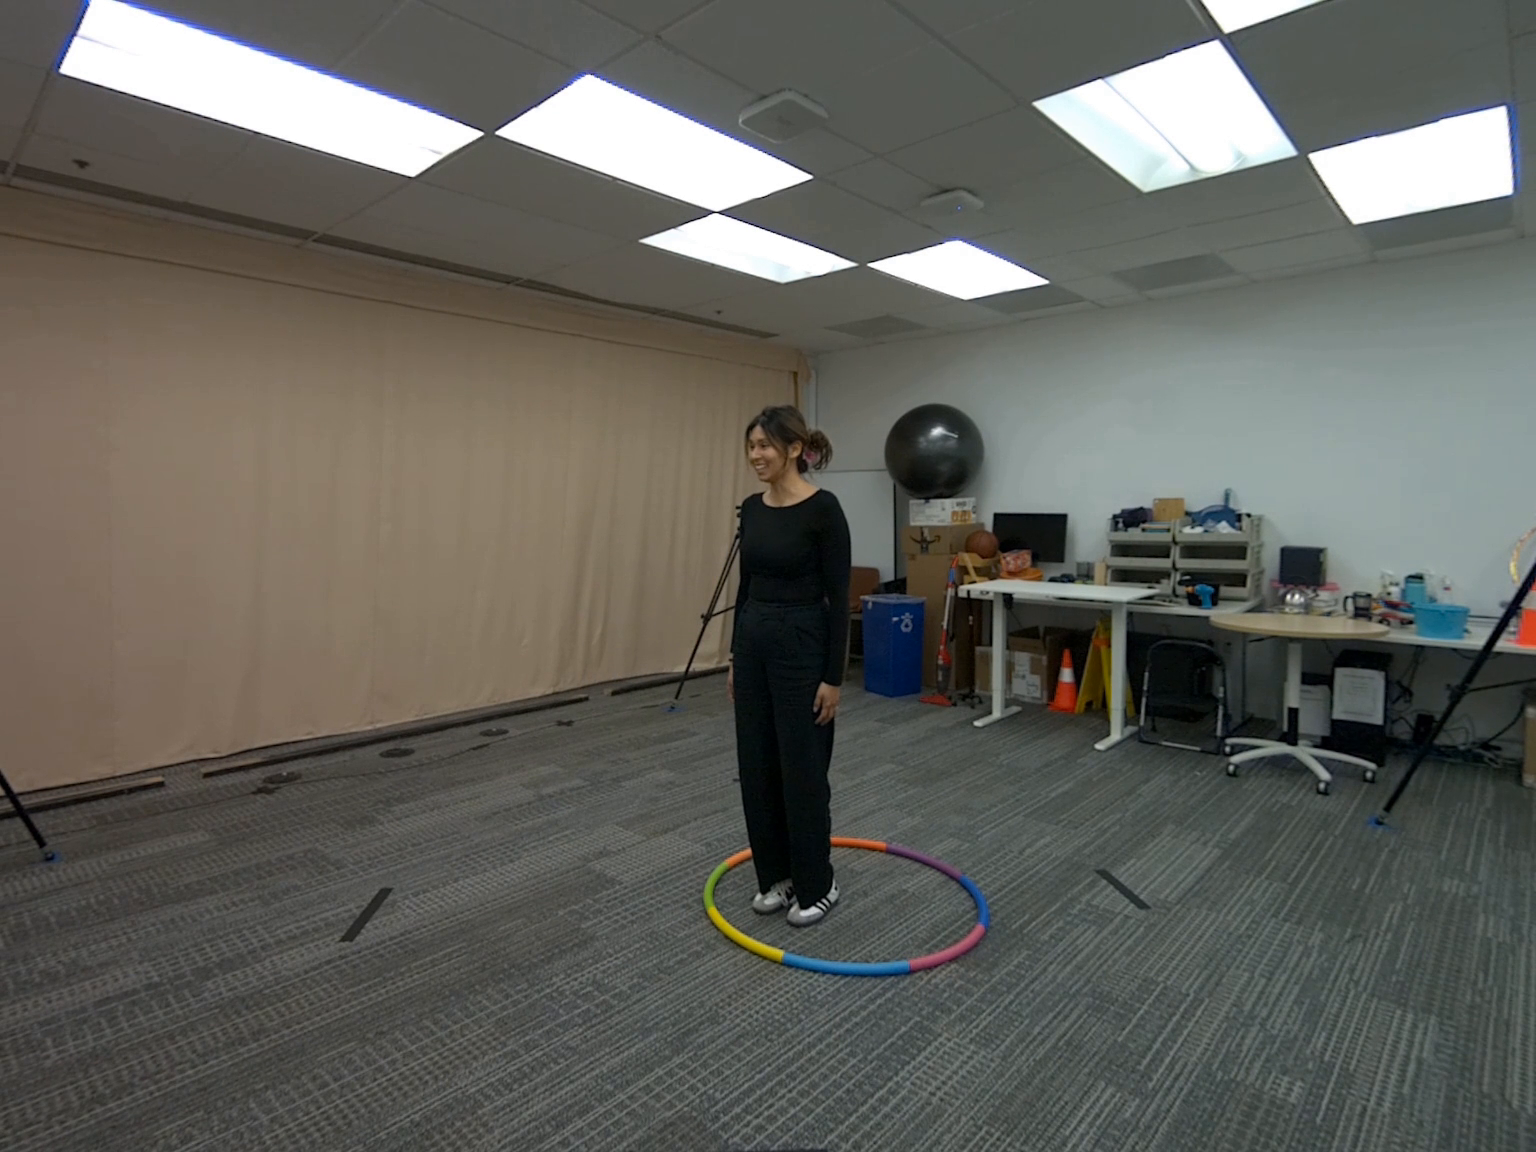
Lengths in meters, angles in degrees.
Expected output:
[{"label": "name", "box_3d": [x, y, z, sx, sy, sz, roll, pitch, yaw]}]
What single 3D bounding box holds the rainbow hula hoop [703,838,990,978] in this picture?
[{"label": "rainbow hula hoop", "box_3d": [0.264, 1.117, 2.969, 0.978, 0.035, 0.982, 0, 5, -2]}]
